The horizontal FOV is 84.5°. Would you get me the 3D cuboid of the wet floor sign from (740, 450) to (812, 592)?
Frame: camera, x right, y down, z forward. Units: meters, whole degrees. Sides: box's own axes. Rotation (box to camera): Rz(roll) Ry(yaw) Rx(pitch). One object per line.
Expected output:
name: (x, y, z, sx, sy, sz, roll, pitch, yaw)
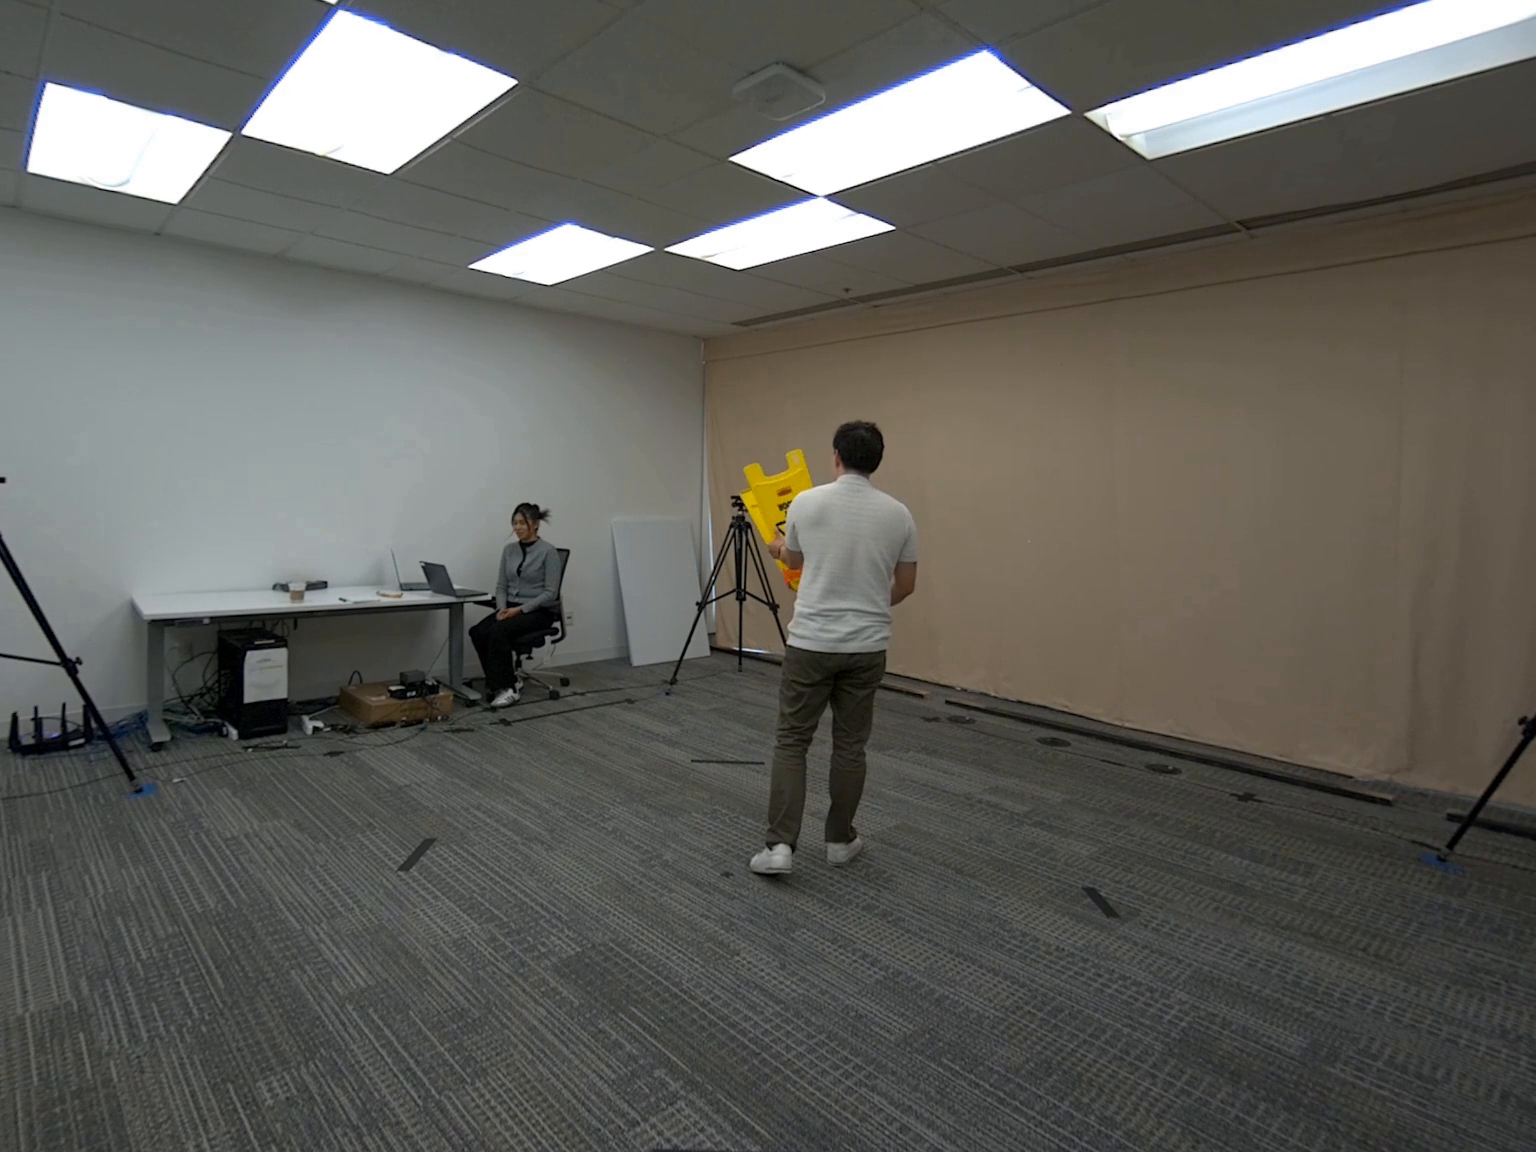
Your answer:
wet floor sign: (0.123, -0.185, 3.779, 0.281, 0.656, 0.287, -18, -15, -8)
